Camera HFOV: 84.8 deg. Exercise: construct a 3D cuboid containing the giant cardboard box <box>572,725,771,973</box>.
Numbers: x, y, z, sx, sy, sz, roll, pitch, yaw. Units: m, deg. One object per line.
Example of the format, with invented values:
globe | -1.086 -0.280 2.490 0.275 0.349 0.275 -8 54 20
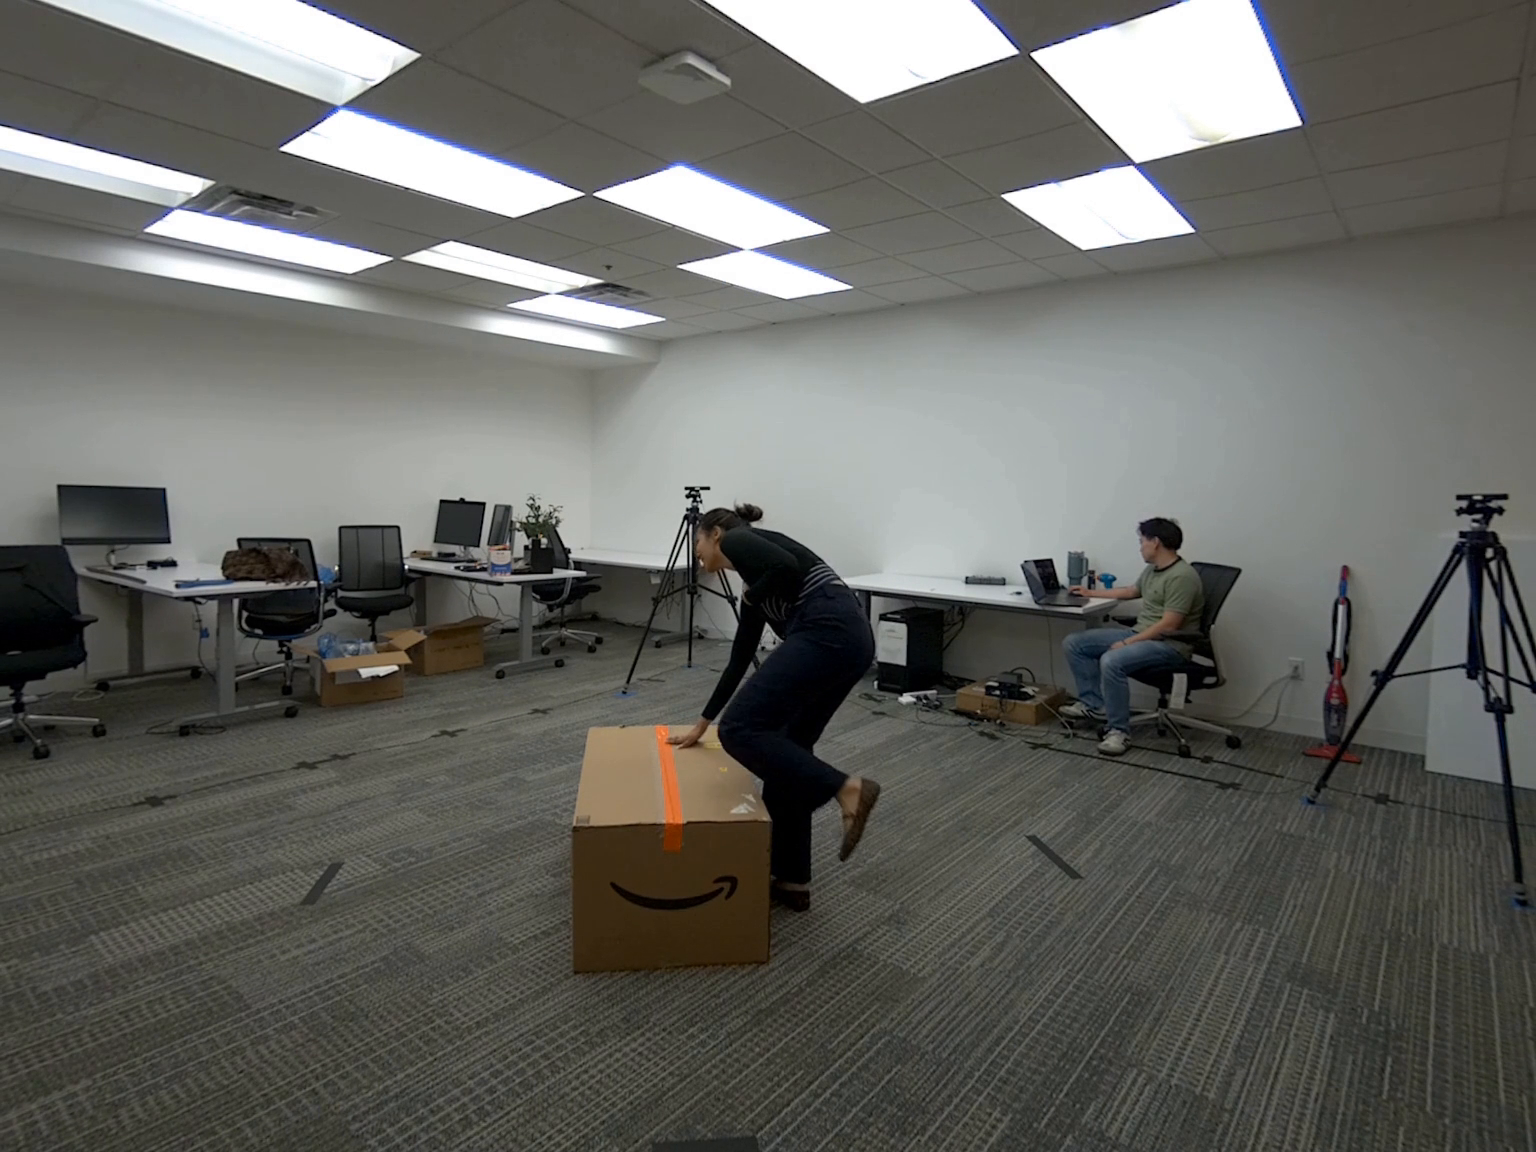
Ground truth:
giant cardboard box | -0.370 0.864 2.946 0.573 0.425 1.038 1 5 -9
